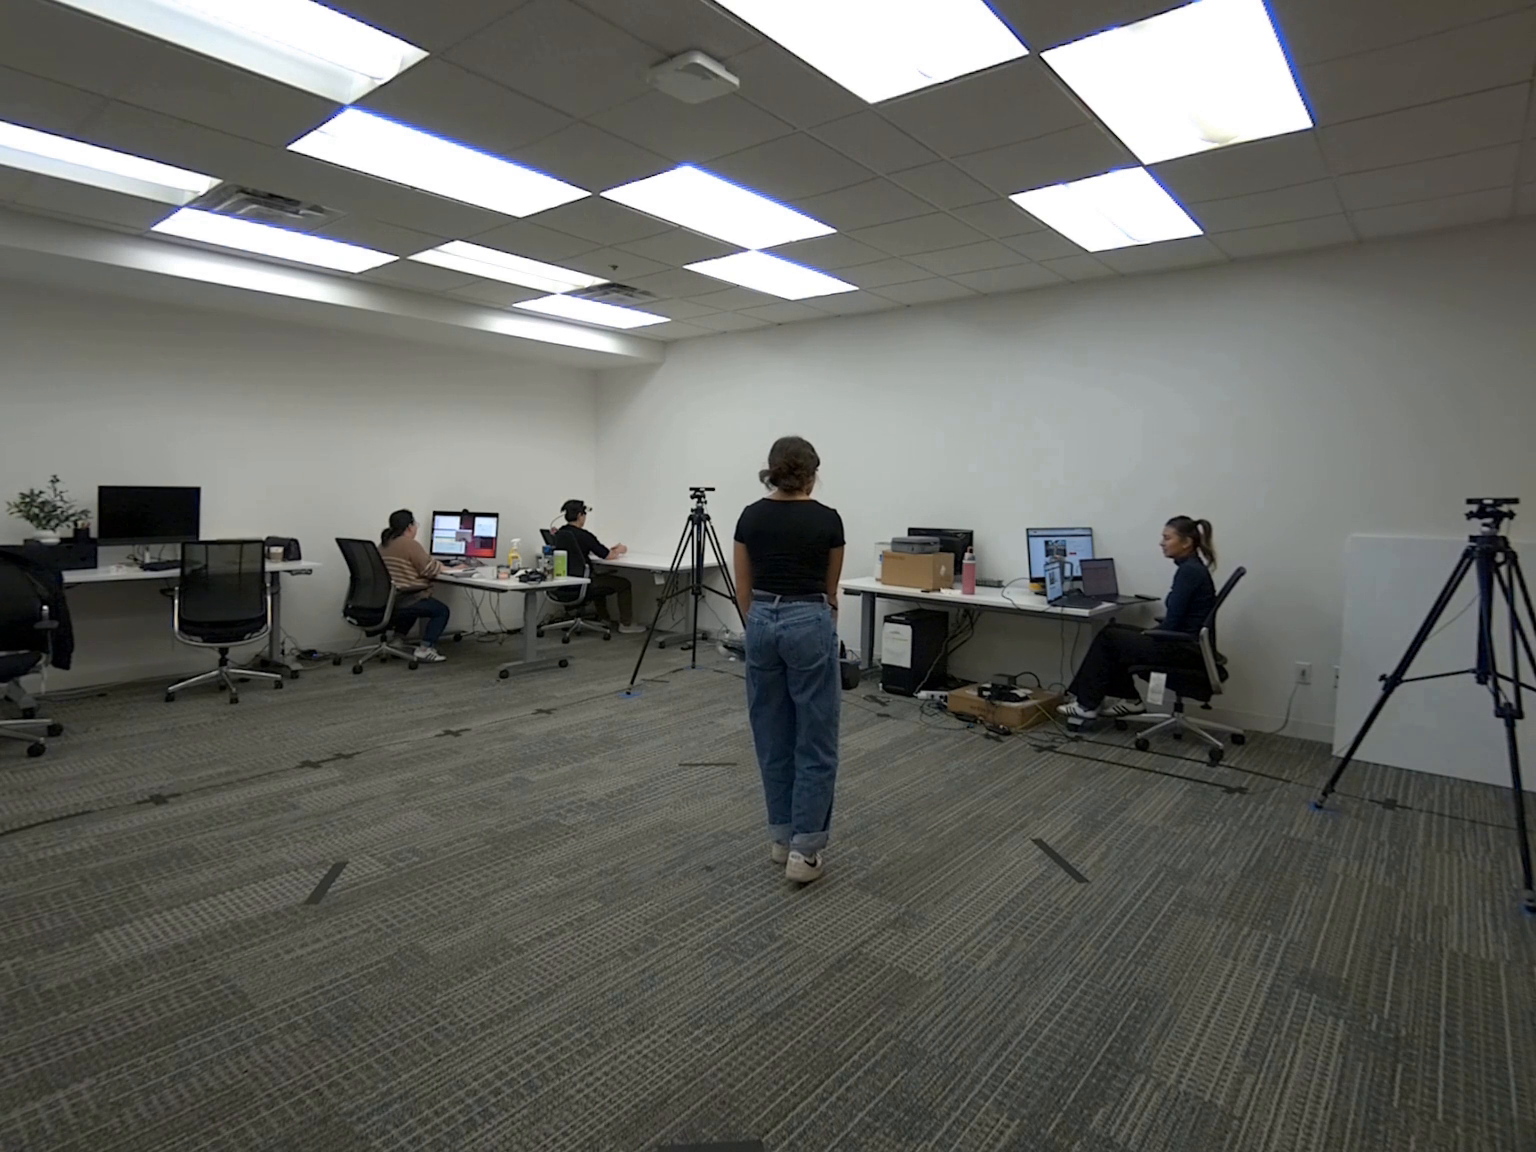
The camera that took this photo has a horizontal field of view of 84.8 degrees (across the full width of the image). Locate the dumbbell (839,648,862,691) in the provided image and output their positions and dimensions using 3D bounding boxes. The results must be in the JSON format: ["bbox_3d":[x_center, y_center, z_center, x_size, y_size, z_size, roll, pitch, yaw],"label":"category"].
[{"bbox_3d":[0.193,0.369,3.250,0.302,0.124,0.104,1,-26,35],"label":"dumbbell"}]
